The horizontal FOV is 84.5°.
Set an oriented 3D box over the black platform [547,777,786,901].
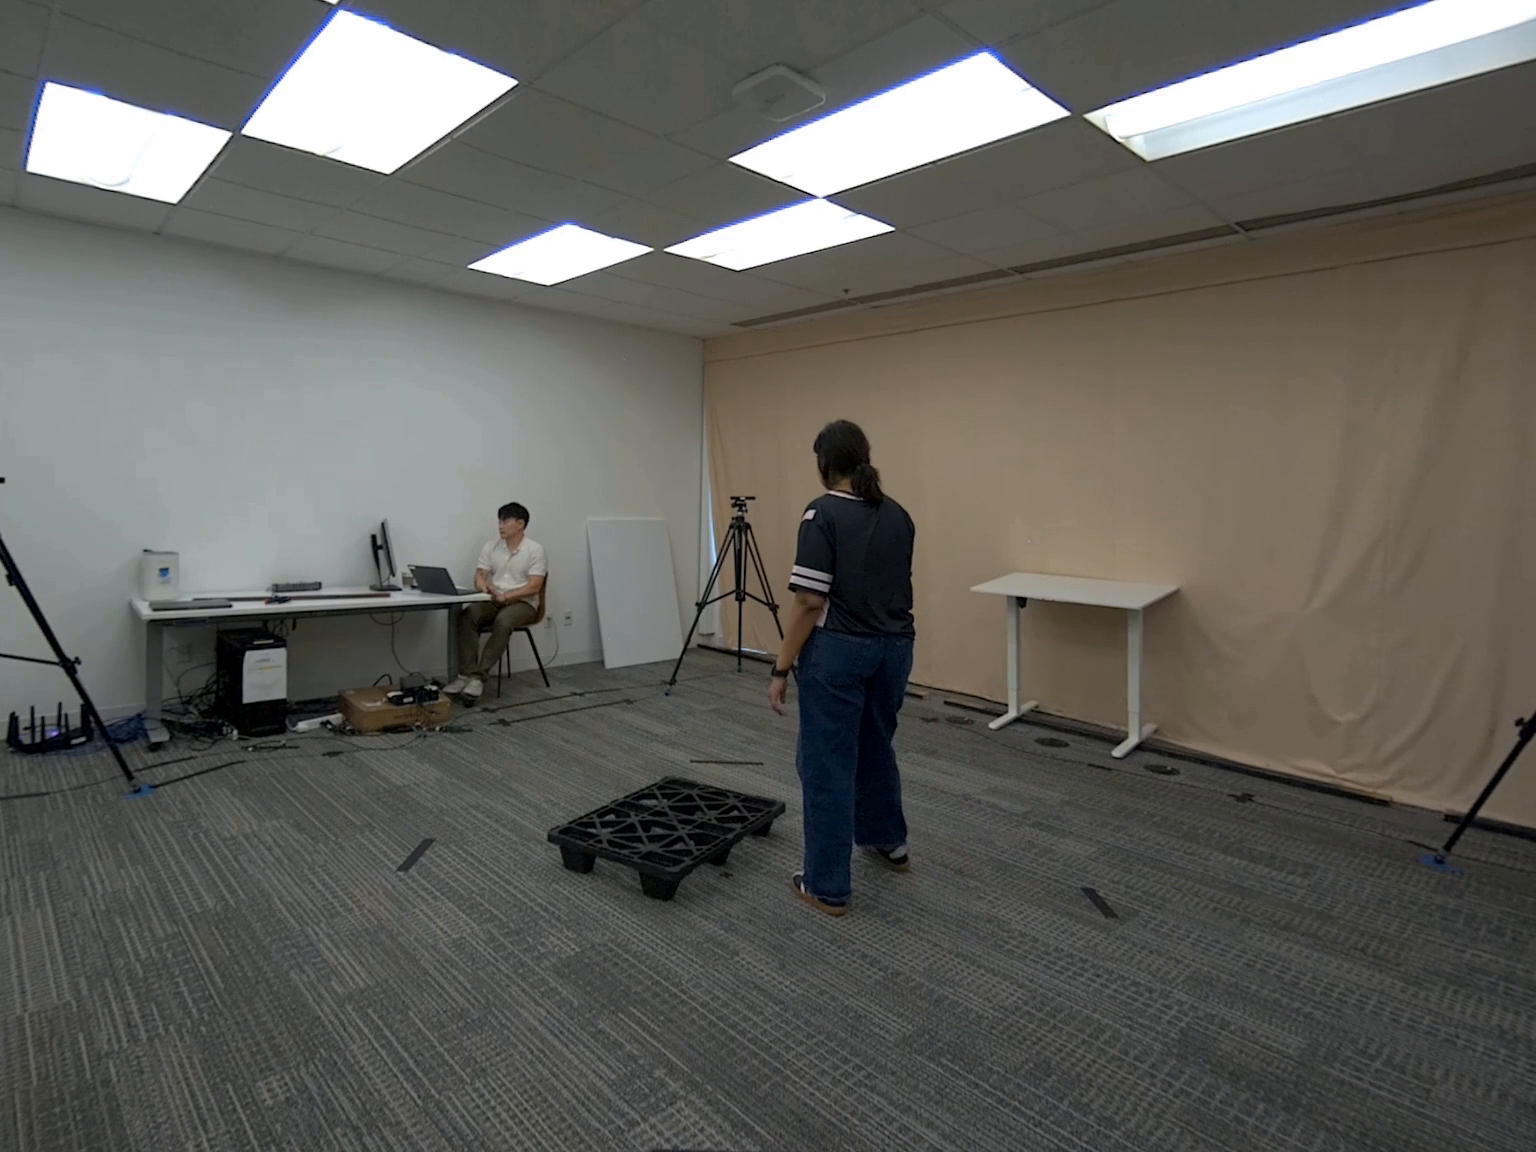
[{"bbox_3d":[-0.375,1.011,3.318,0.619,0.143,0.790,5,6,30],"label":"black platform"}]
